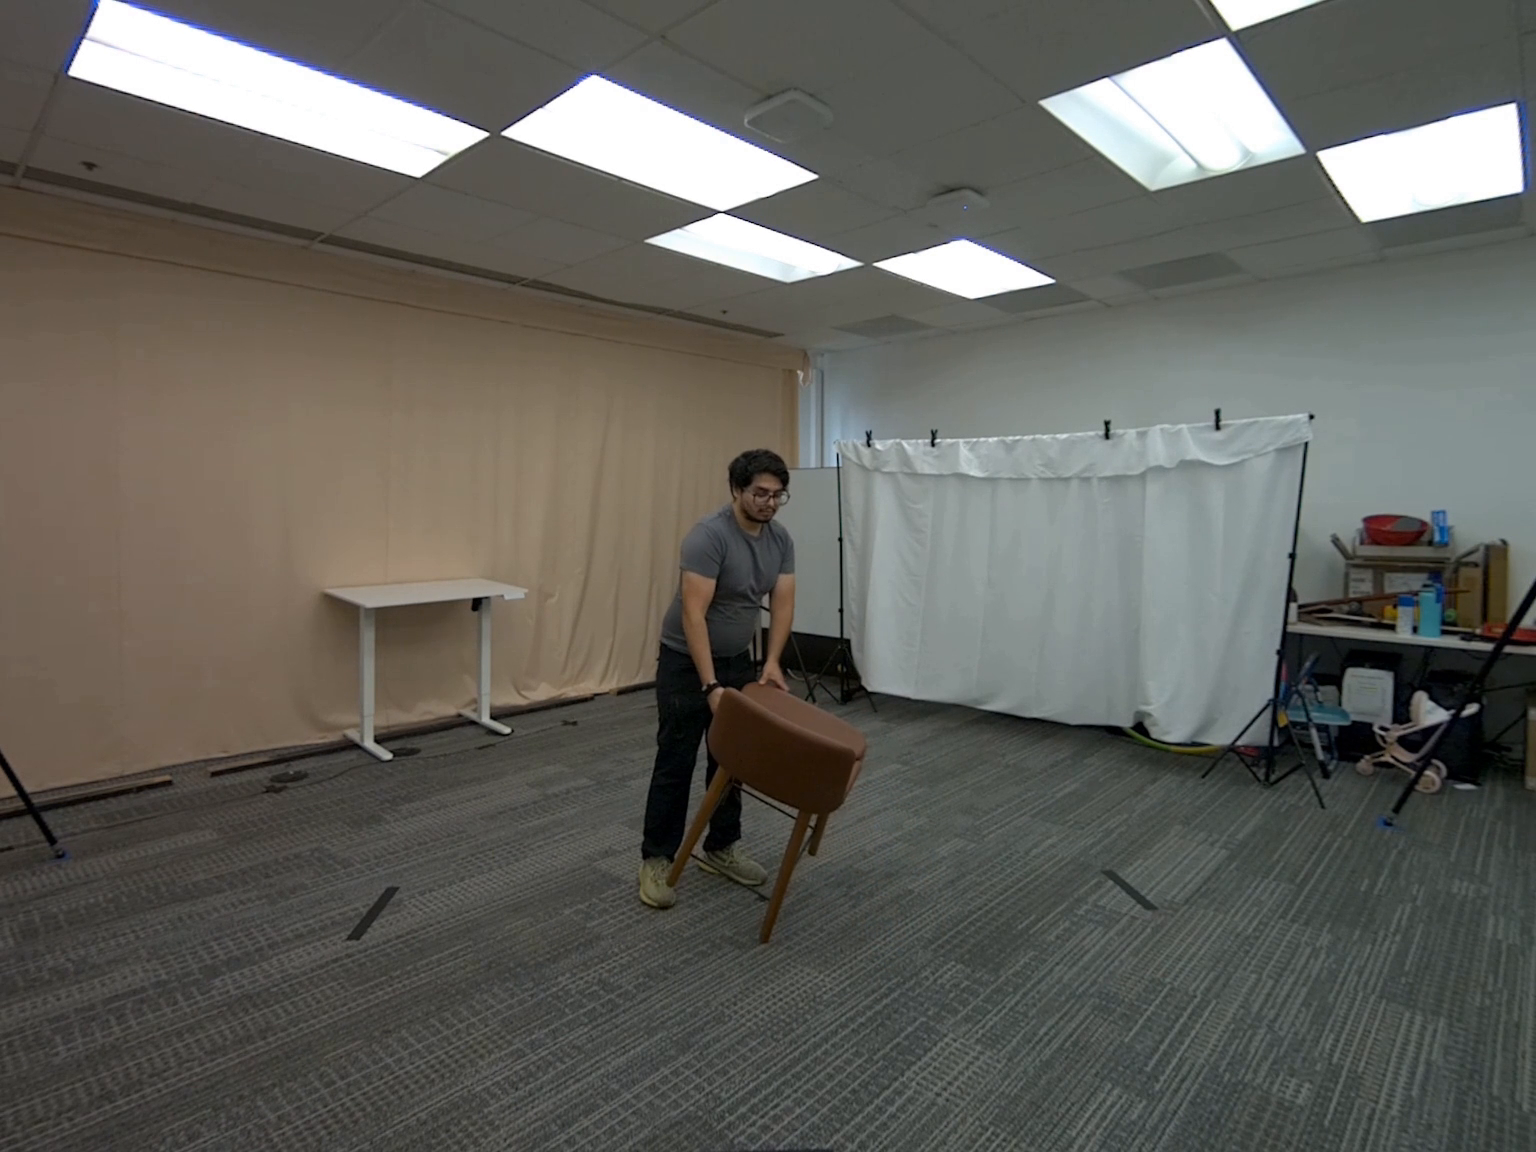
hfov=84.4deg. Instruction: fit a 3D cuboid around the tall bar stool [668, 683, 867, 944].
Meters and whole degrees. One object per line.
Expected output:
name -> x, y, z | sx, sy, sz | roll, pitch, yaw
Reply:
tall bar stool -> 0.030, 0.658, 2.687 | 0.465, 0.882, 0.462 | 26, 33, 15
